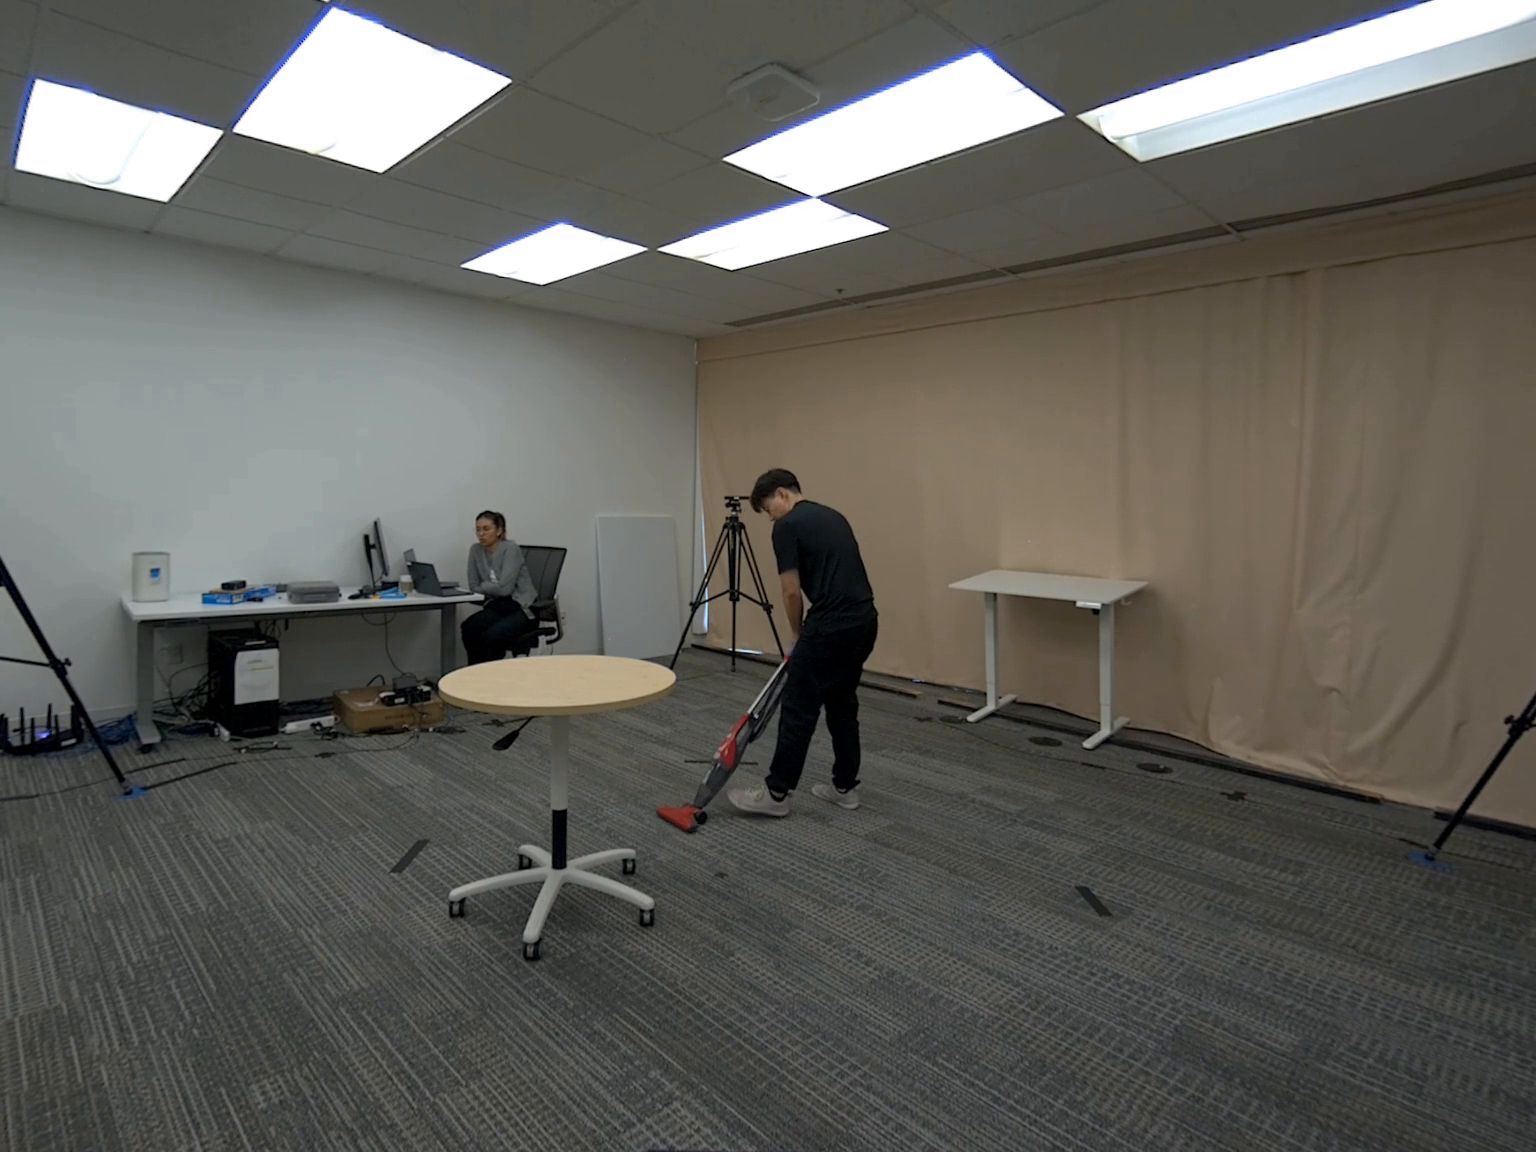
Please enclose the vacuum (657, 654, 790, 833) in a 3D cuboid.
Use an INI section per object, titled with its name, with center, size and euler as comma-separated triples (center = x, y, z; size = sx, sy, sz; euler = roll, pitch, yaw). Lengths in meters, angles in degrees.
[vacuum]
center = -0.098, 0.666, 3.807
size = 0.259, 1.051, 0.140
euler = 7, -38, 48
